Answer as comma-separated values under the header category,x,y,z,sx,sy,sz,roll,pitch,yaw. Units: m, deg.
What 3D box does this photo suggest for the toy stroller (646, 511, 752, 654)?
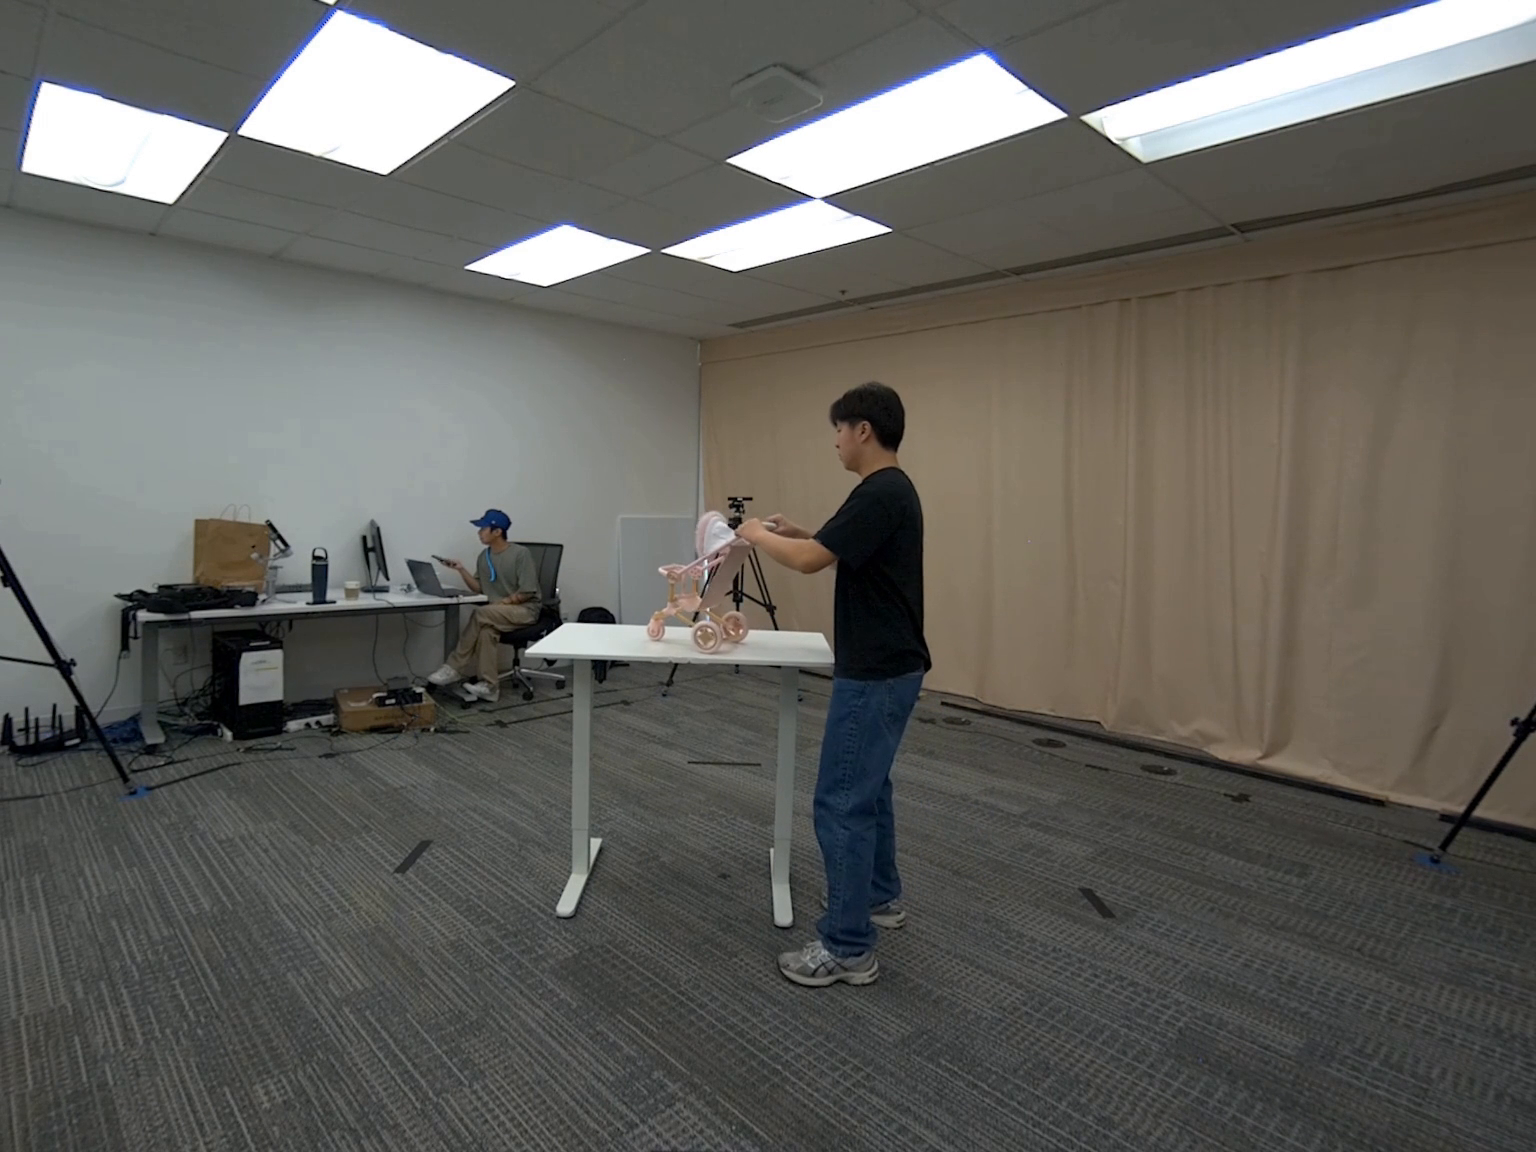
category,x,y,z,sx,sy,sz,roll,pitch,yaw
toy stroller,-0.221,0.021,2.887,0.349,0.532,0.276,20,11,24
